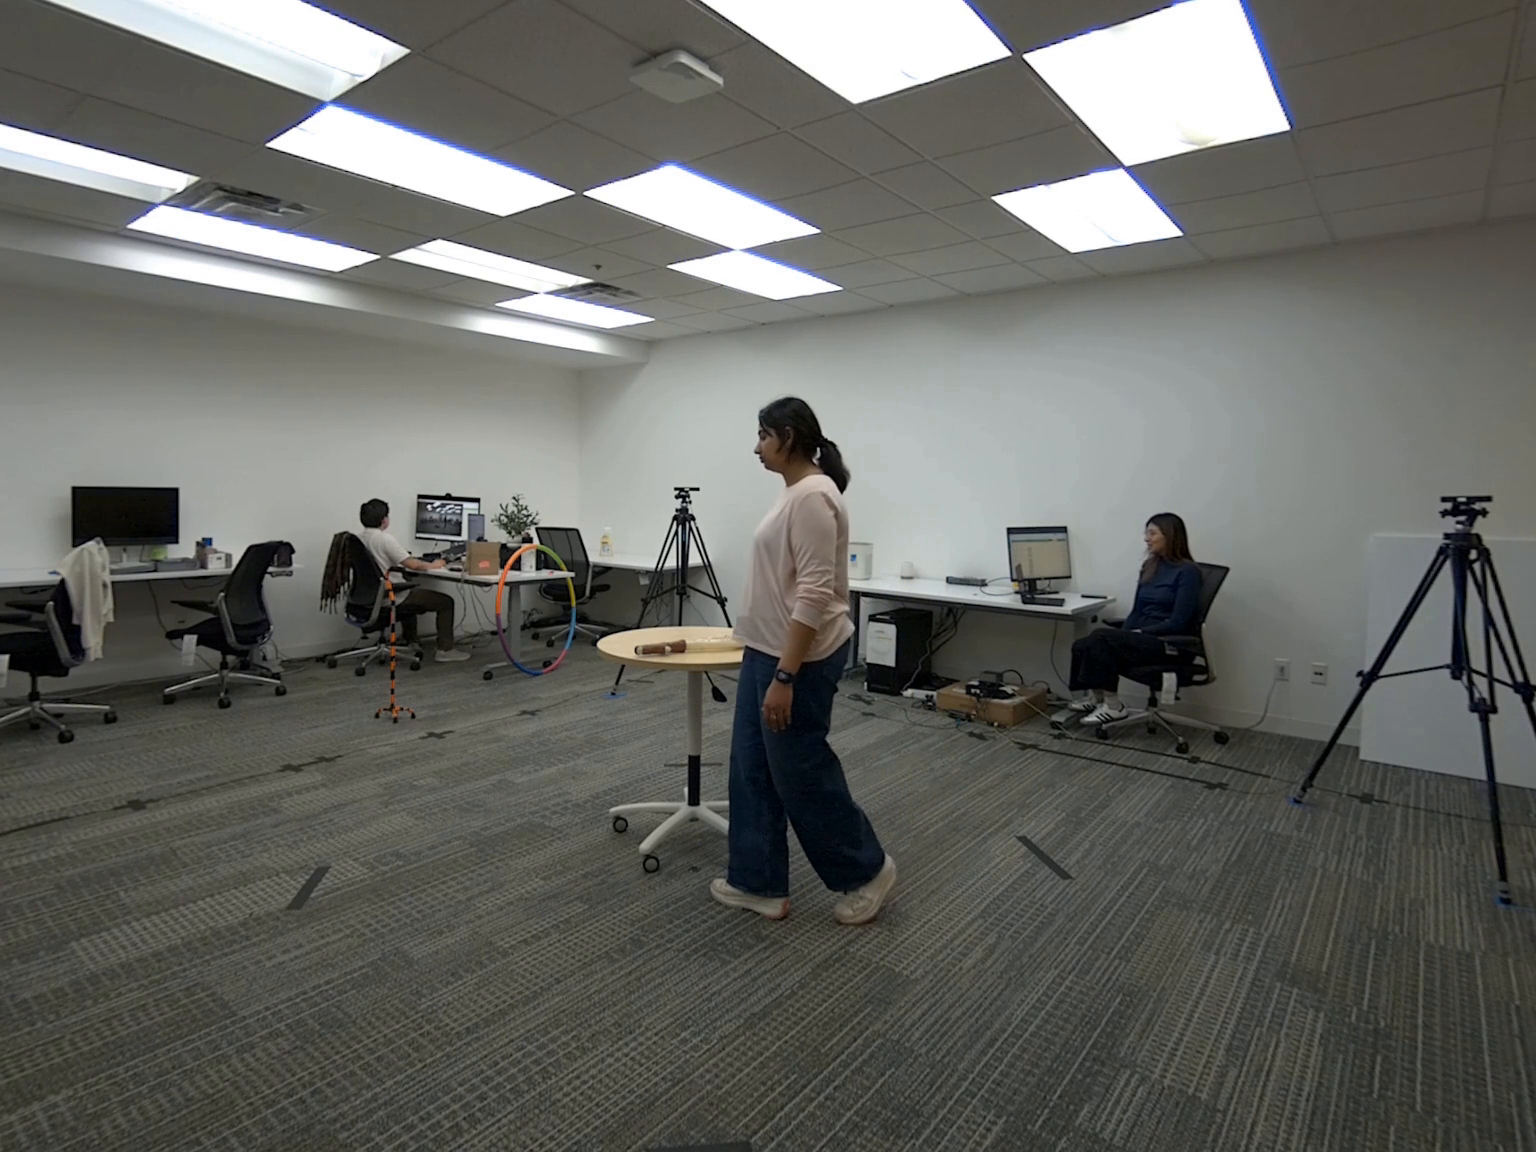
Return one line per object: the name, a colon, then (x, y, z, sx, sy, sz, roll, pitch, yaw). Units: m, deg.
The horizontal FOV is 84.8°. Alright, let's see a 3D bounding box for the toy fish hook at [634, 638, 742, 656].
toy fish hook: (-0.306, 0.259, 3.212, 0.493, 0.048, 0.230, -1, 1, -30)
